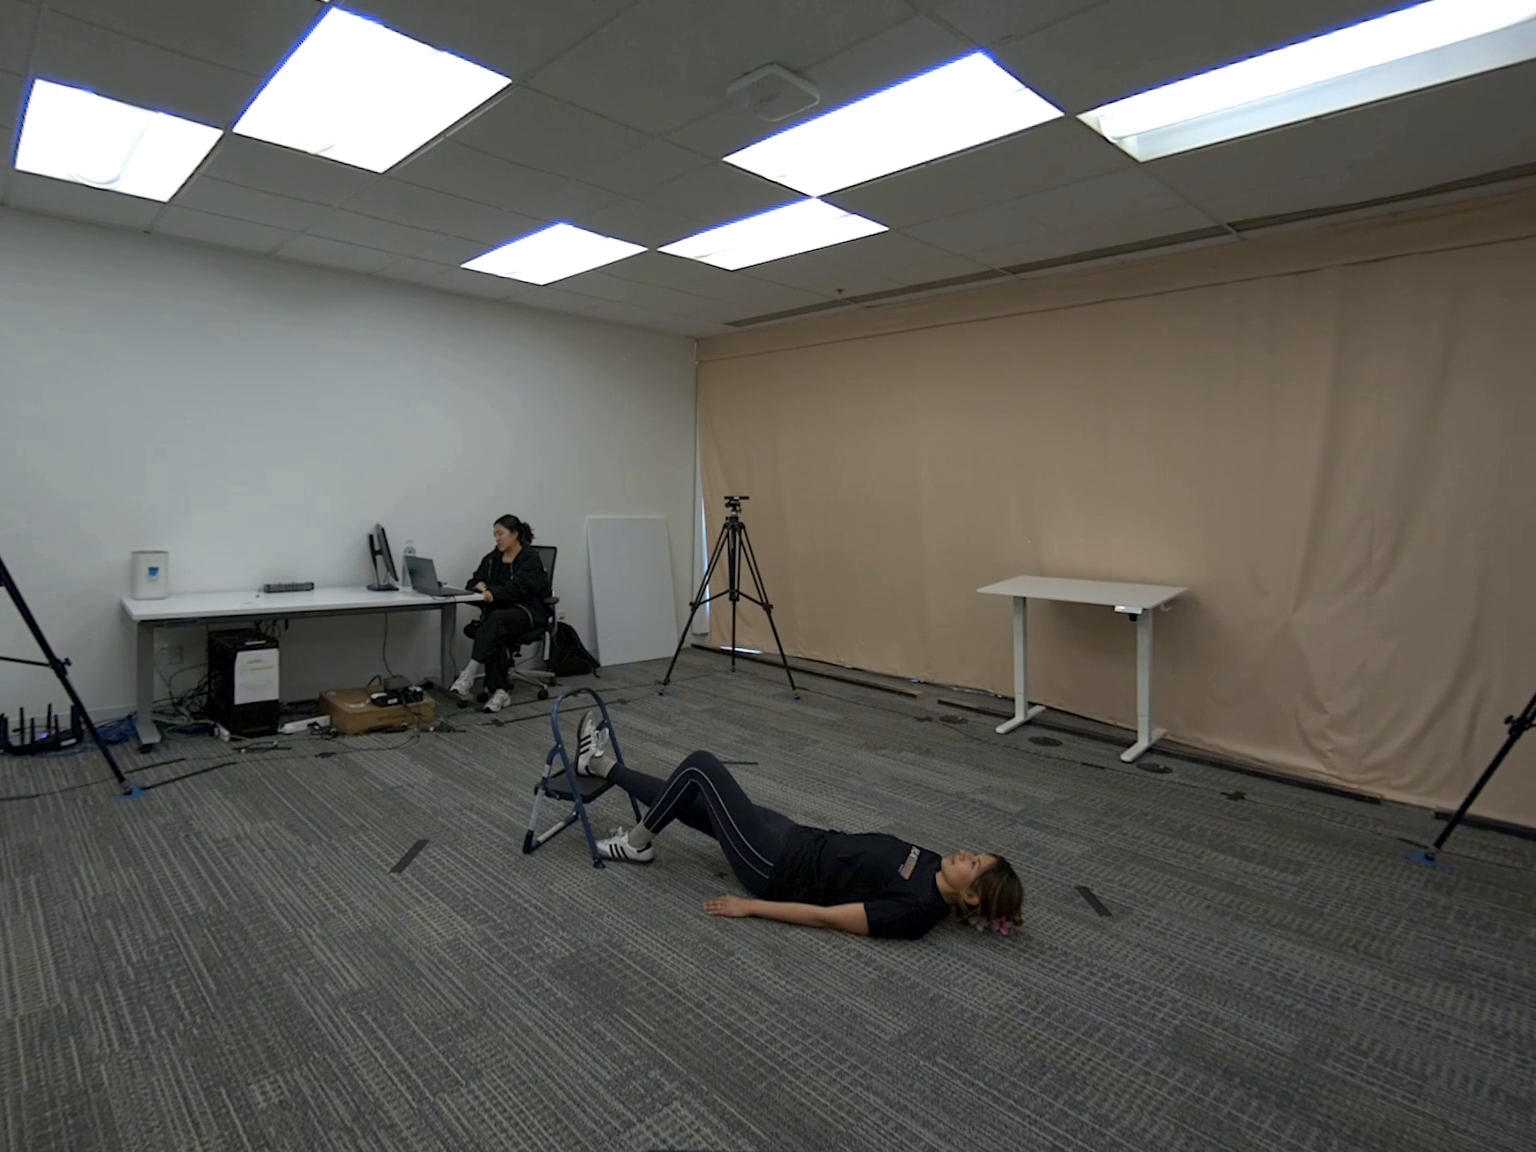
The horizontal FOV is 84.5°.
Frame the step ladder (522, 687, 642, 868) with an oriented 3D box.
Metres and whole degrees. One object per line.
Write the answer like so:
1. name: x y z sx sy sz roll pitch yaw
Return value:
1. step ladder: -0.730 0.766 3.376 0.354 0.604 0.426 2 4 16
